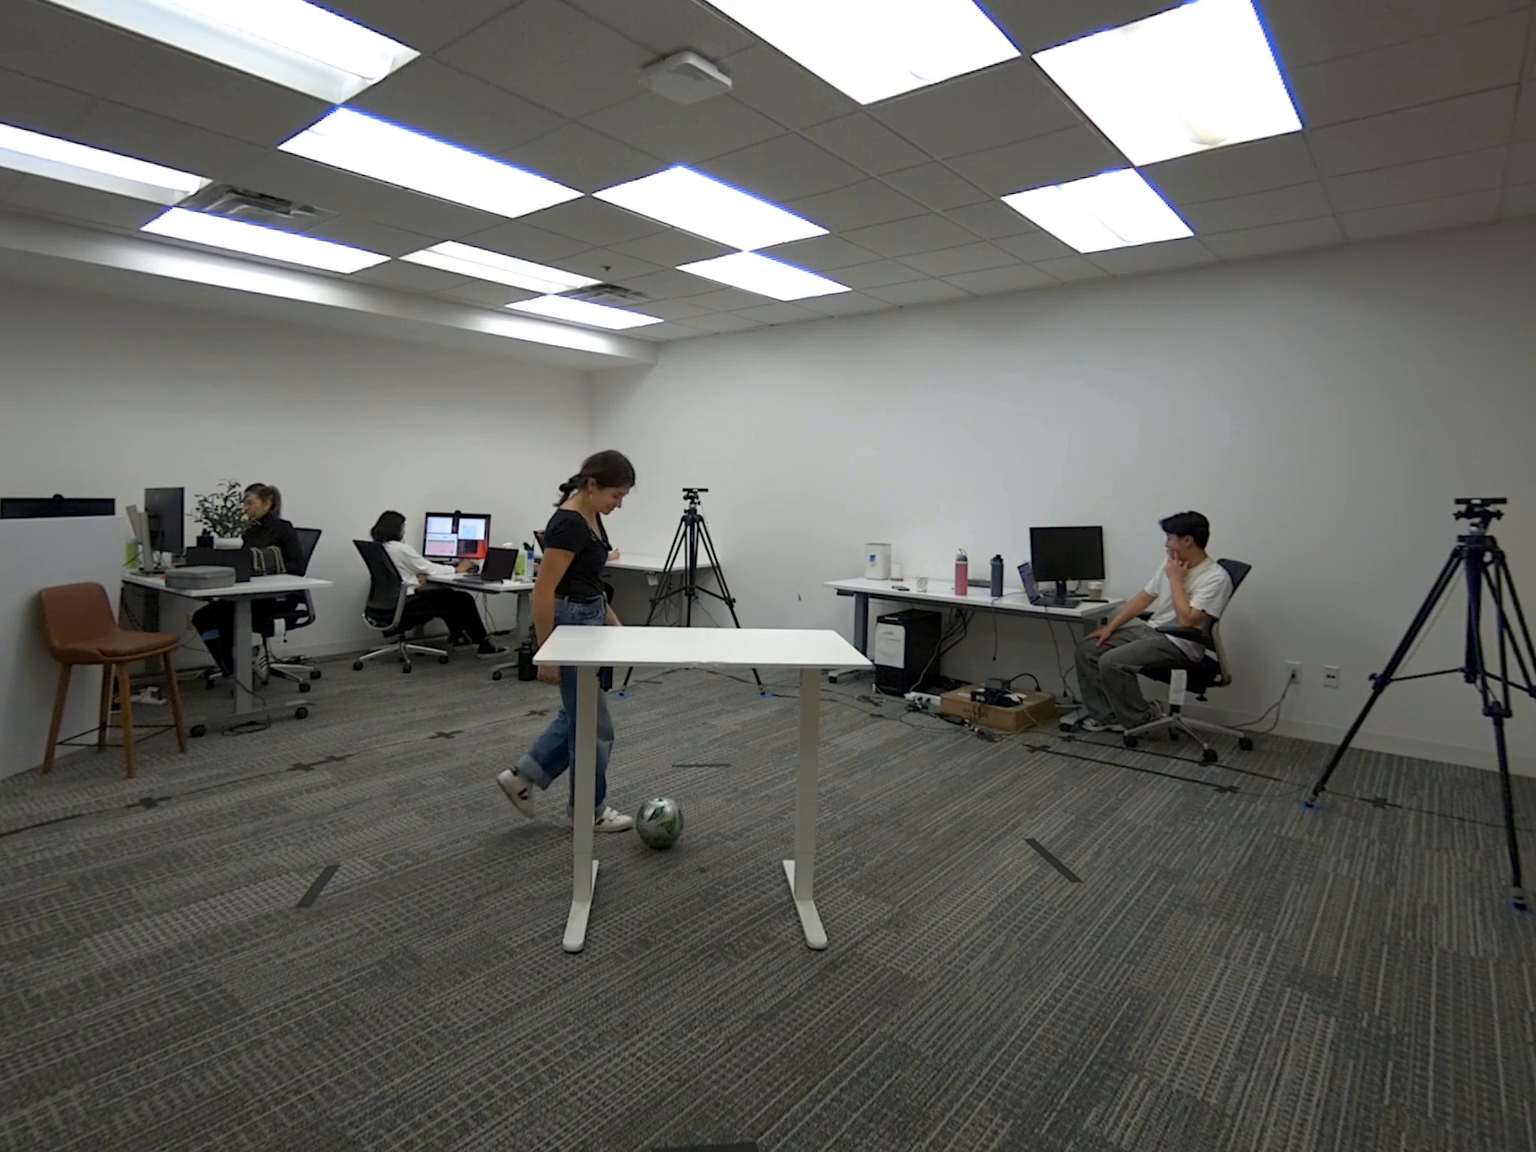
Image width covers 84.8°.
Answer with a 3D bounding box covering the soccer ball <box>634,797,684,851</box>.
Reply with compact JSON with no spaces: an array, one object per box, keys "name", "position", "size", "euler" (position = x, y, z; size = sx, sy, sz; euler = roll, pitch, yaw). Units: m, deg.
[{"name":"soccer ball","position":[-0.422,0.951,3.309],"size":[0.187,0.187,0.188],"euler":[1,4,-2]}]
